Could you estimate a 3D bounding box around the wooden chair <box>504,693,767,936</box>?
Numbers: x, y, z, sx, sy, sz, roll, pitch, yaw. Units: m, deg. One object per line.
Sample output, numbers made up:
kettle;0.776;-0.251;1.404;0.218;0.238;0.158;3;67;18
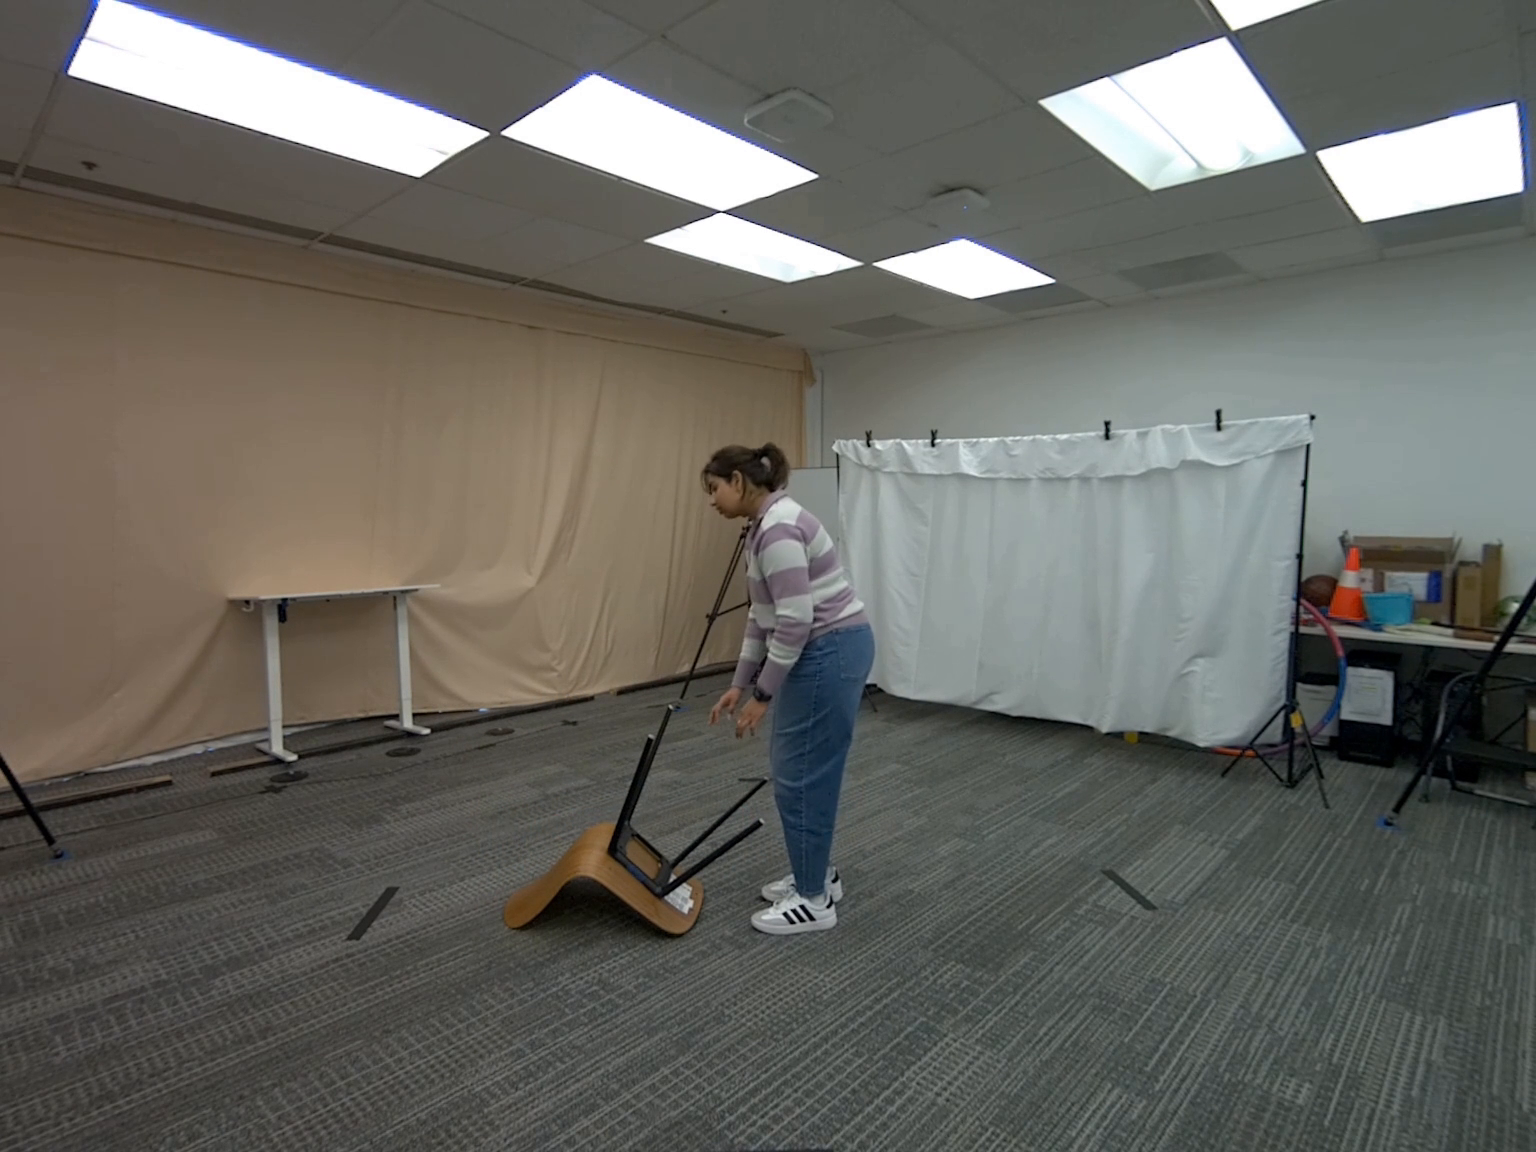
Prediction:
wooden chair;-0.432;0.984;2.916;0.525;0.878;0.476;40;5;1
